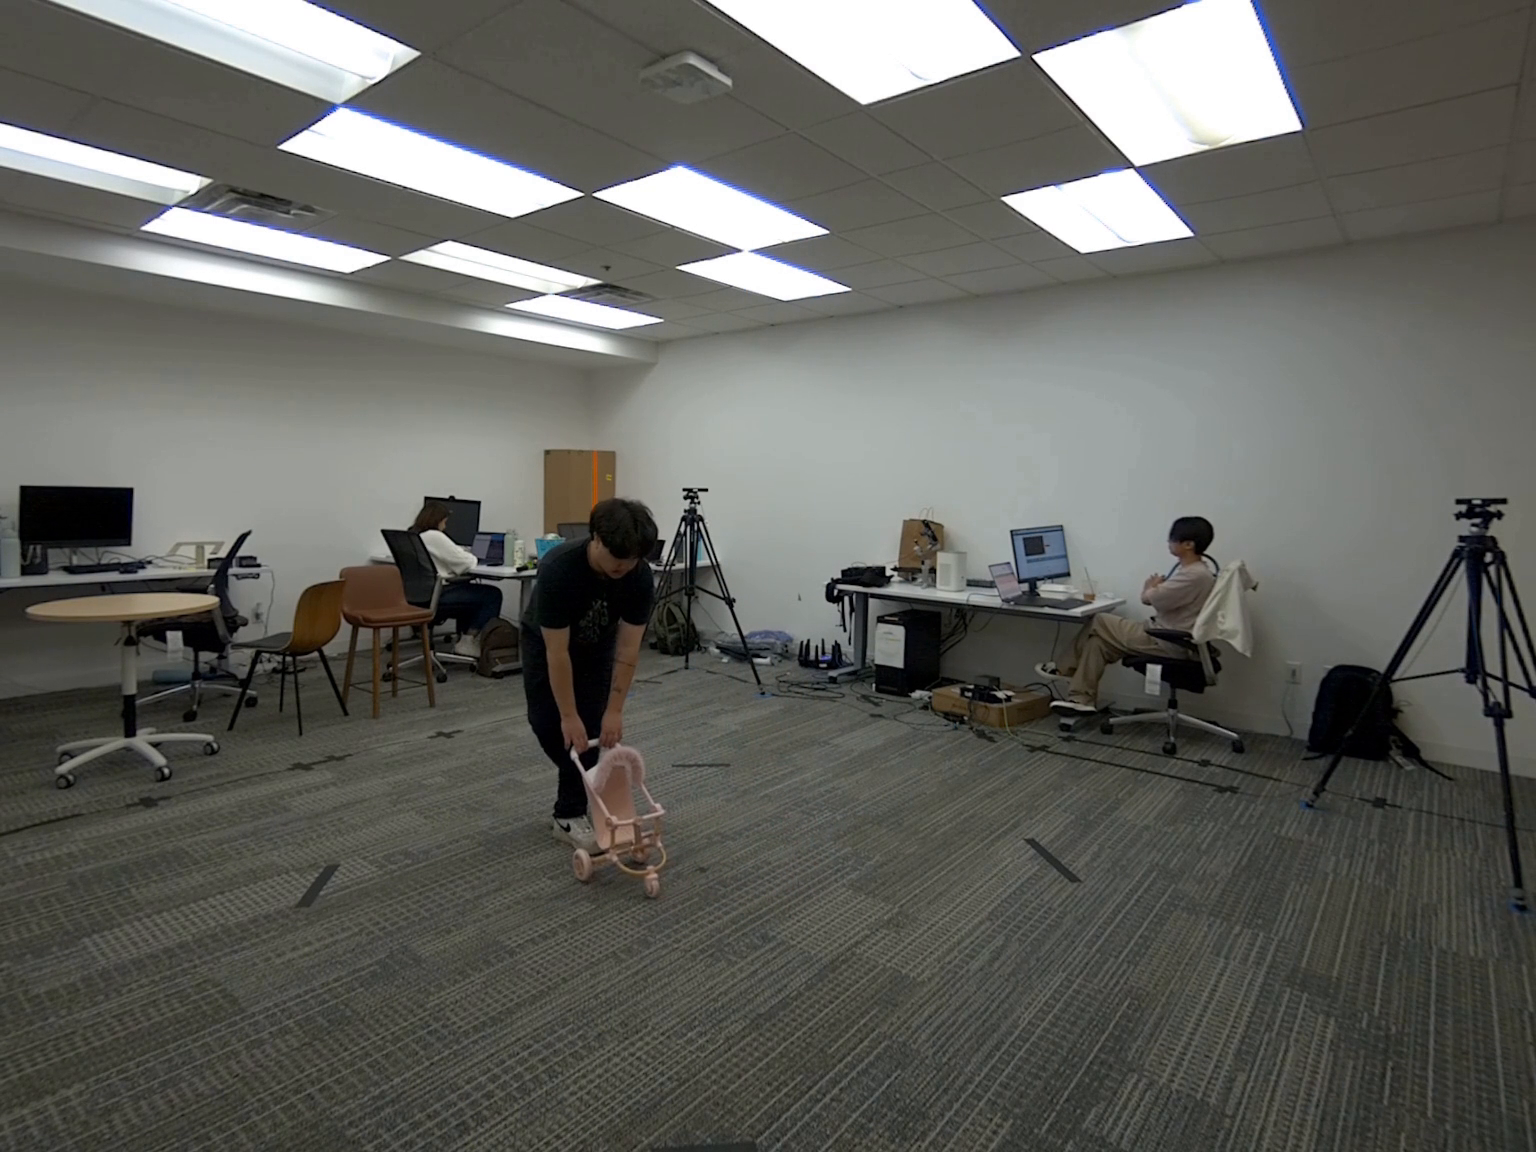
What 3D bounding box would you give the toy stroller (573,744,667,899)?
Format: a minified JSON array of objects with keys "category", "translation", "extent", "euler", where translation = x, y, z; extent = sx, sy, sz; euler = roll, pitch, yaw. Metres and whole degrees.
[{"category":"toy stroller","translation":[-0.529,0.845,3.022],"extent":[0.273,0.541,0.348],"euler":[-1,-11,-38]}]
